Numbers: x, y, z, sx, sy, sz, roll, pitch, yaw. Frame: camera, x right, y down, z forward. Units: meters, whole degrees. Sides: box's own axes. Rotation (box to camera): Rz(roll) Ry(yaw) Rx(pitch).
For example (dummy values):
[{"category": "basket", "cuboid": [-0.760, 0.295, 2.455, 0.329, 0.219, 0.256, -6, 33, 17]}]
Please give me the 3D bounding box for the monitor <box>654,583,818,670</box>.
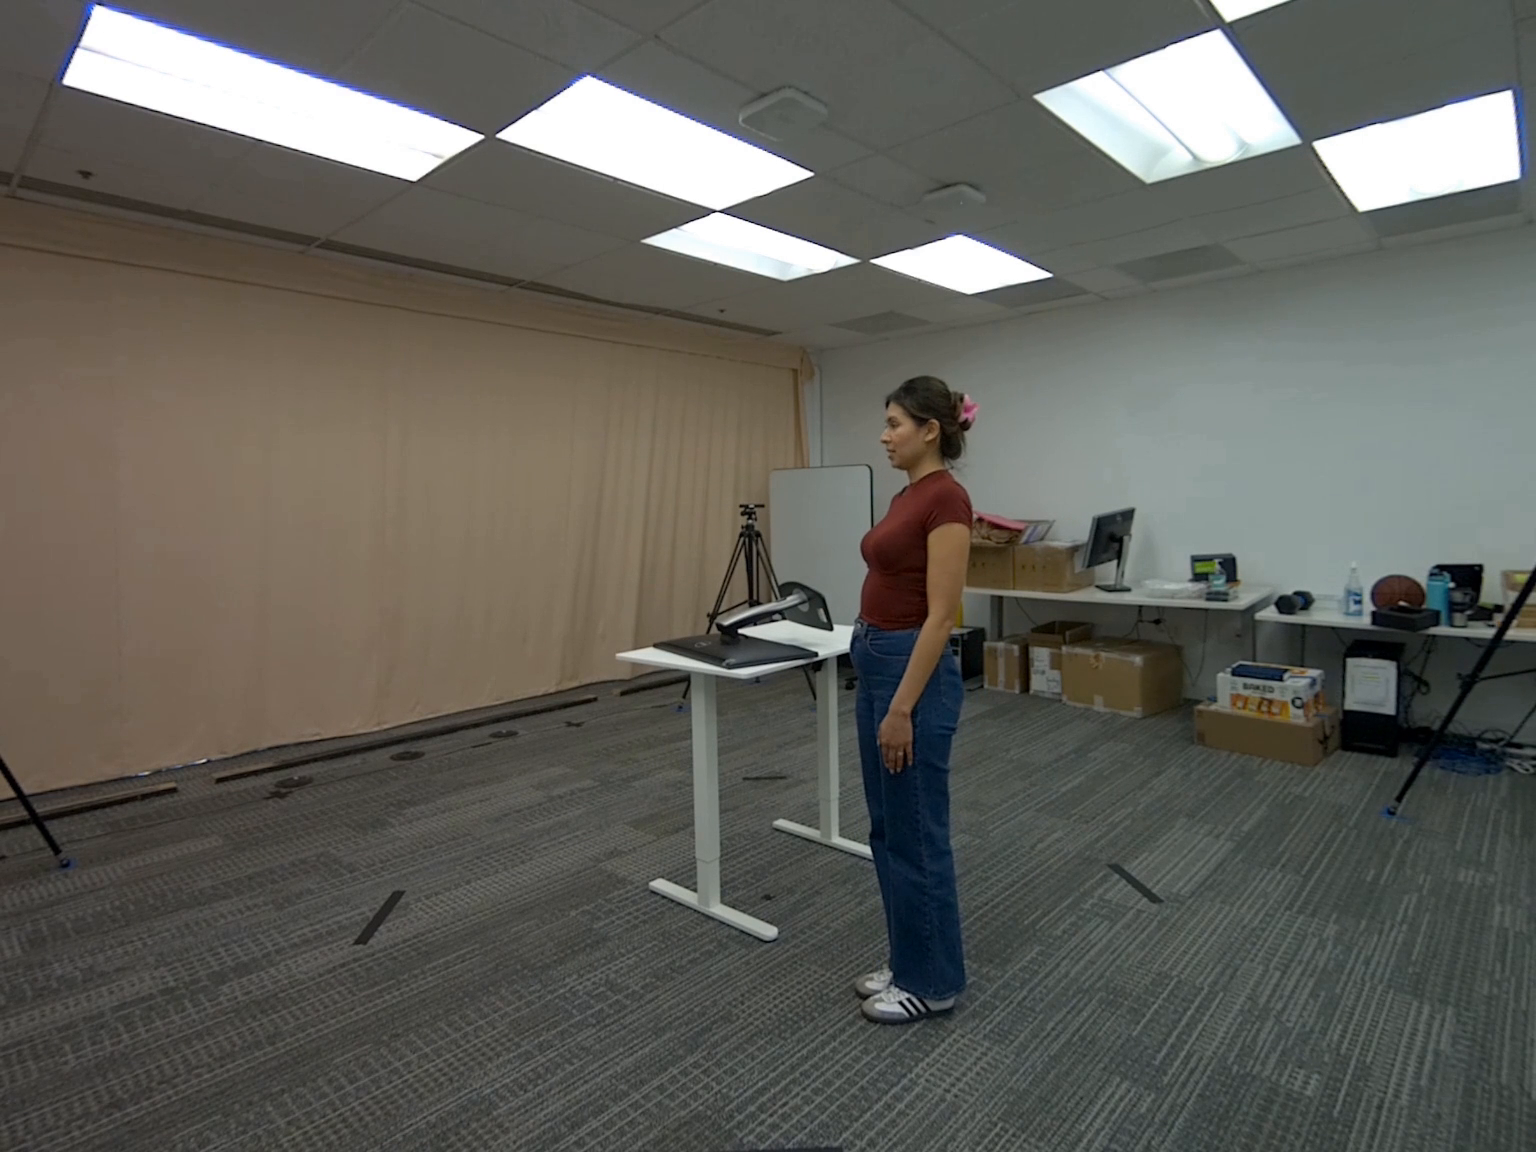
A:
[{"category": "monitor", "cuboid": [-0.060, 0.196, 2.965, 0.513, 0.185, 0.555, -24, 15, -28]}]
